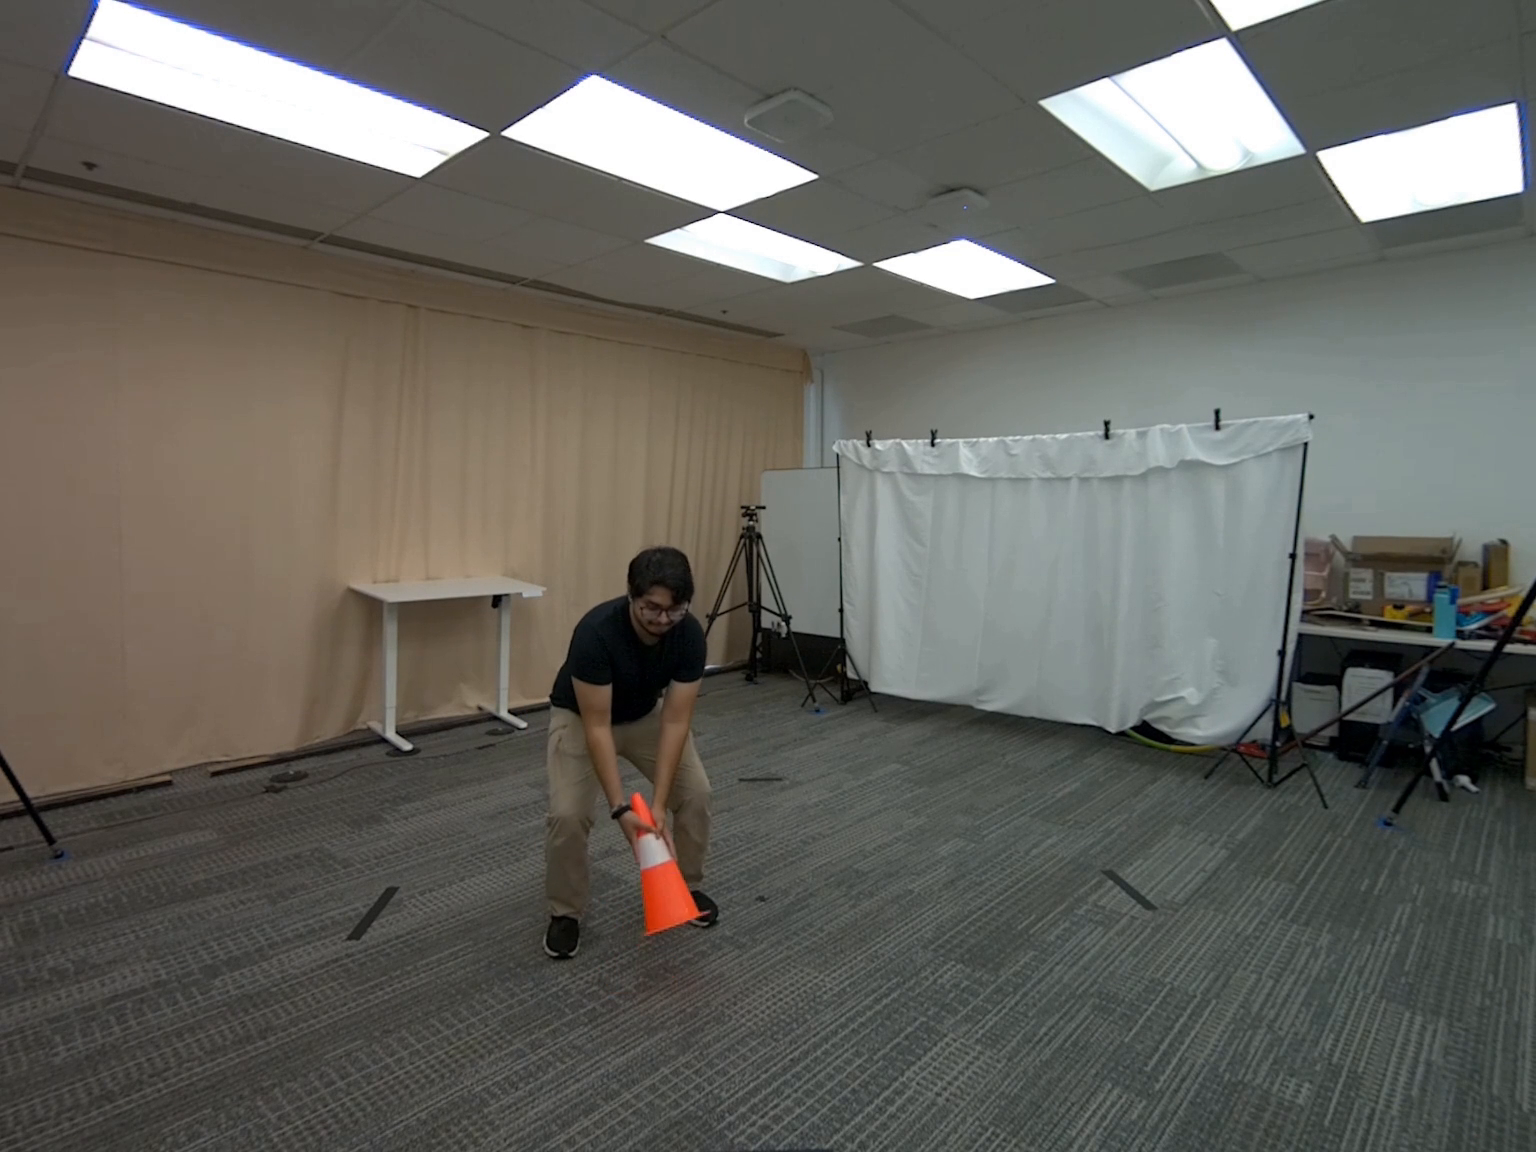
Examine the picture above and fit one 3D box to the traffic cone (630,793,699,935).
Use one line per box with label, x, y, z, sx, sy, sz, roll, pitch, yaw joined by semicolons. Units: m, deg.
traffic cone;-0.307;0.817;2.481;0.202;0.390;0.203;-5;-21;-17
